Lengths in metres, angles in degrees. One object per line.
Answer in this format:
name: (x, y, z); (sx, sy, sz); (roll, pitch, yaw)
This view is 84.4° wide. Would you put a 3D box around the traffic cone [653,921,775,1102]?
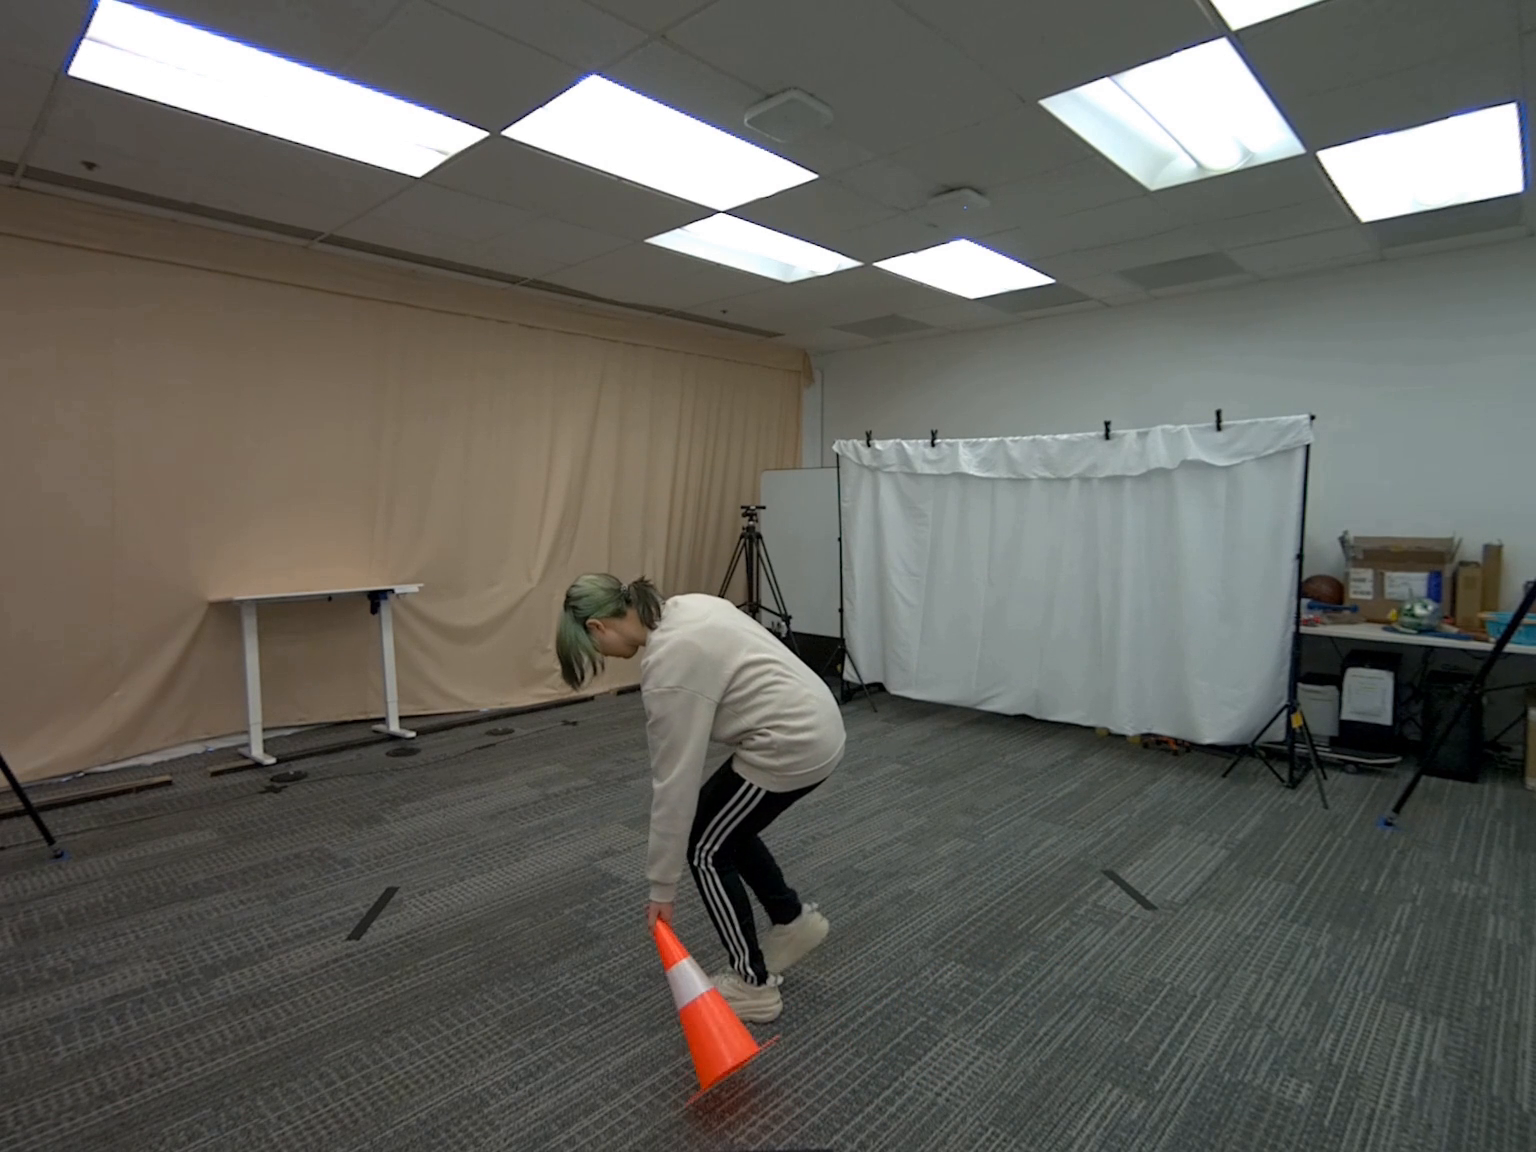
traffic cone: (-0.185, 1.010, 2.039); (0.199, 0.394, 0.203); (-12, -35, -38)
